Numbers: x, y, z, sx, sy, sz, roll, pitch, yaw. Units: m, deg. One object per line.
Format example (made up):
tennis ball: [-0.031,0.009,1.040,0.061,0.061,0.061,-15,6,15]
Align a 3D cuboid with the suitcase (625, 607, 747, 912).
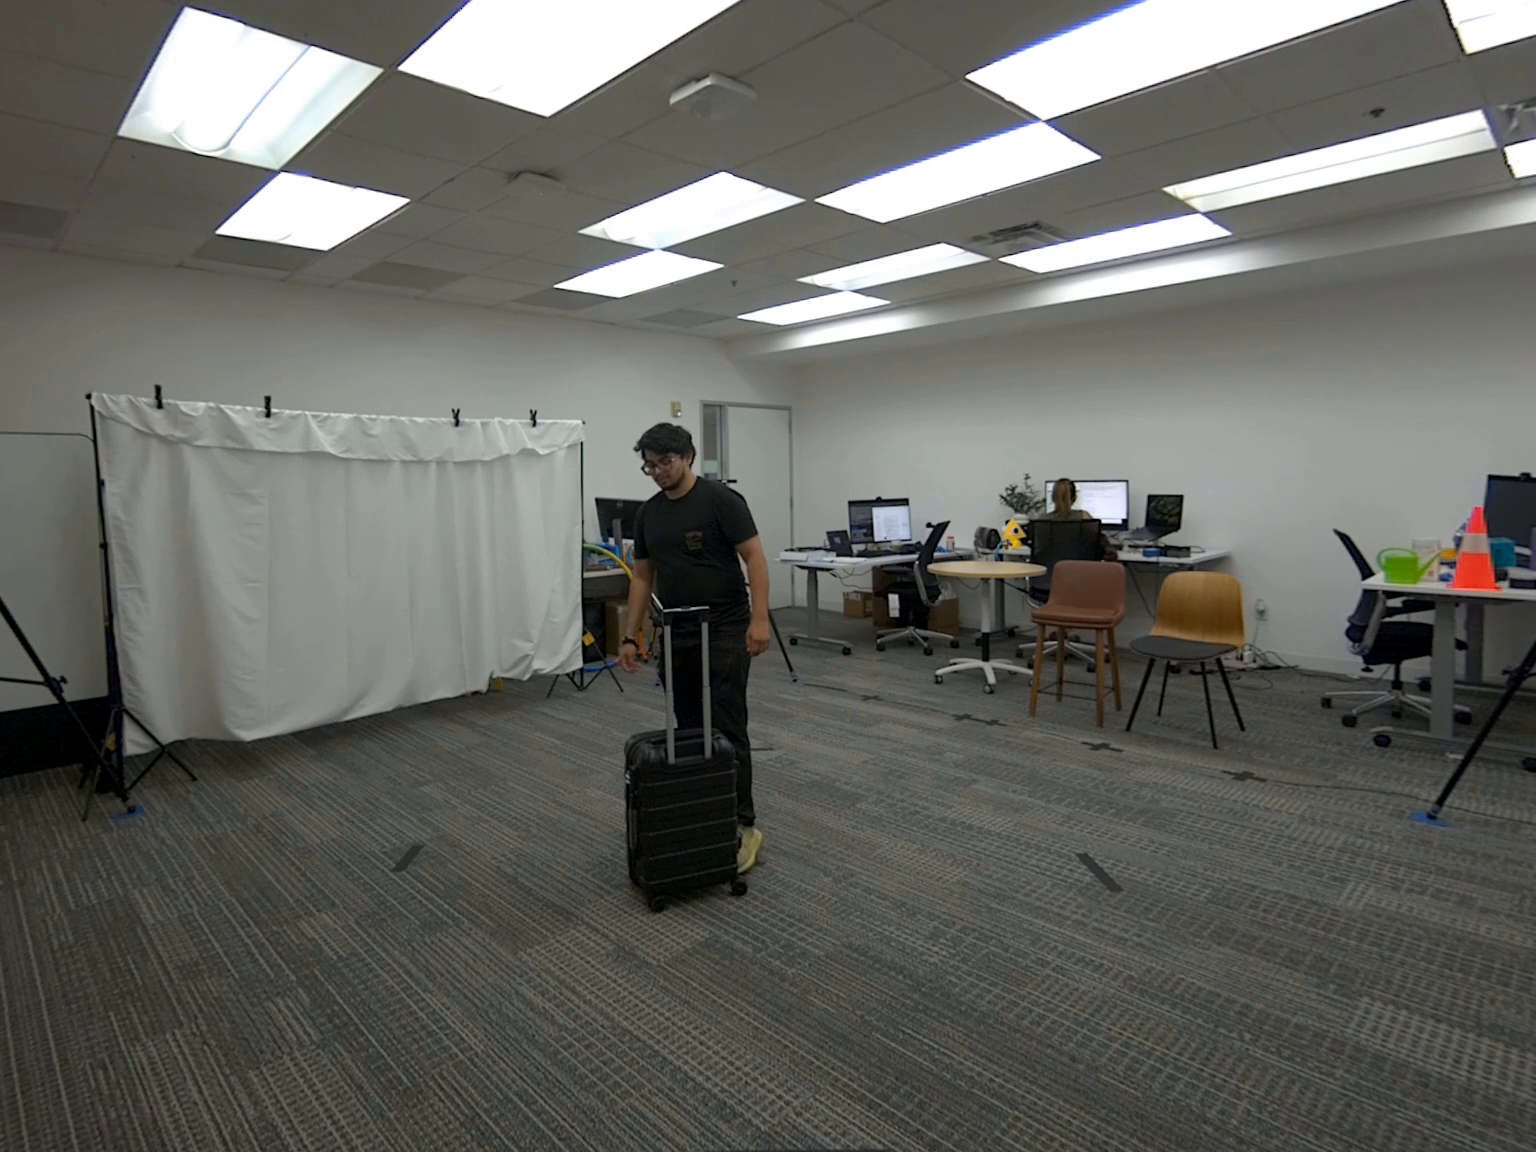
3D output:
suitcase: [-0.306,0.596,2.893,0.377,0.975,0.262,-4,4,-20]
